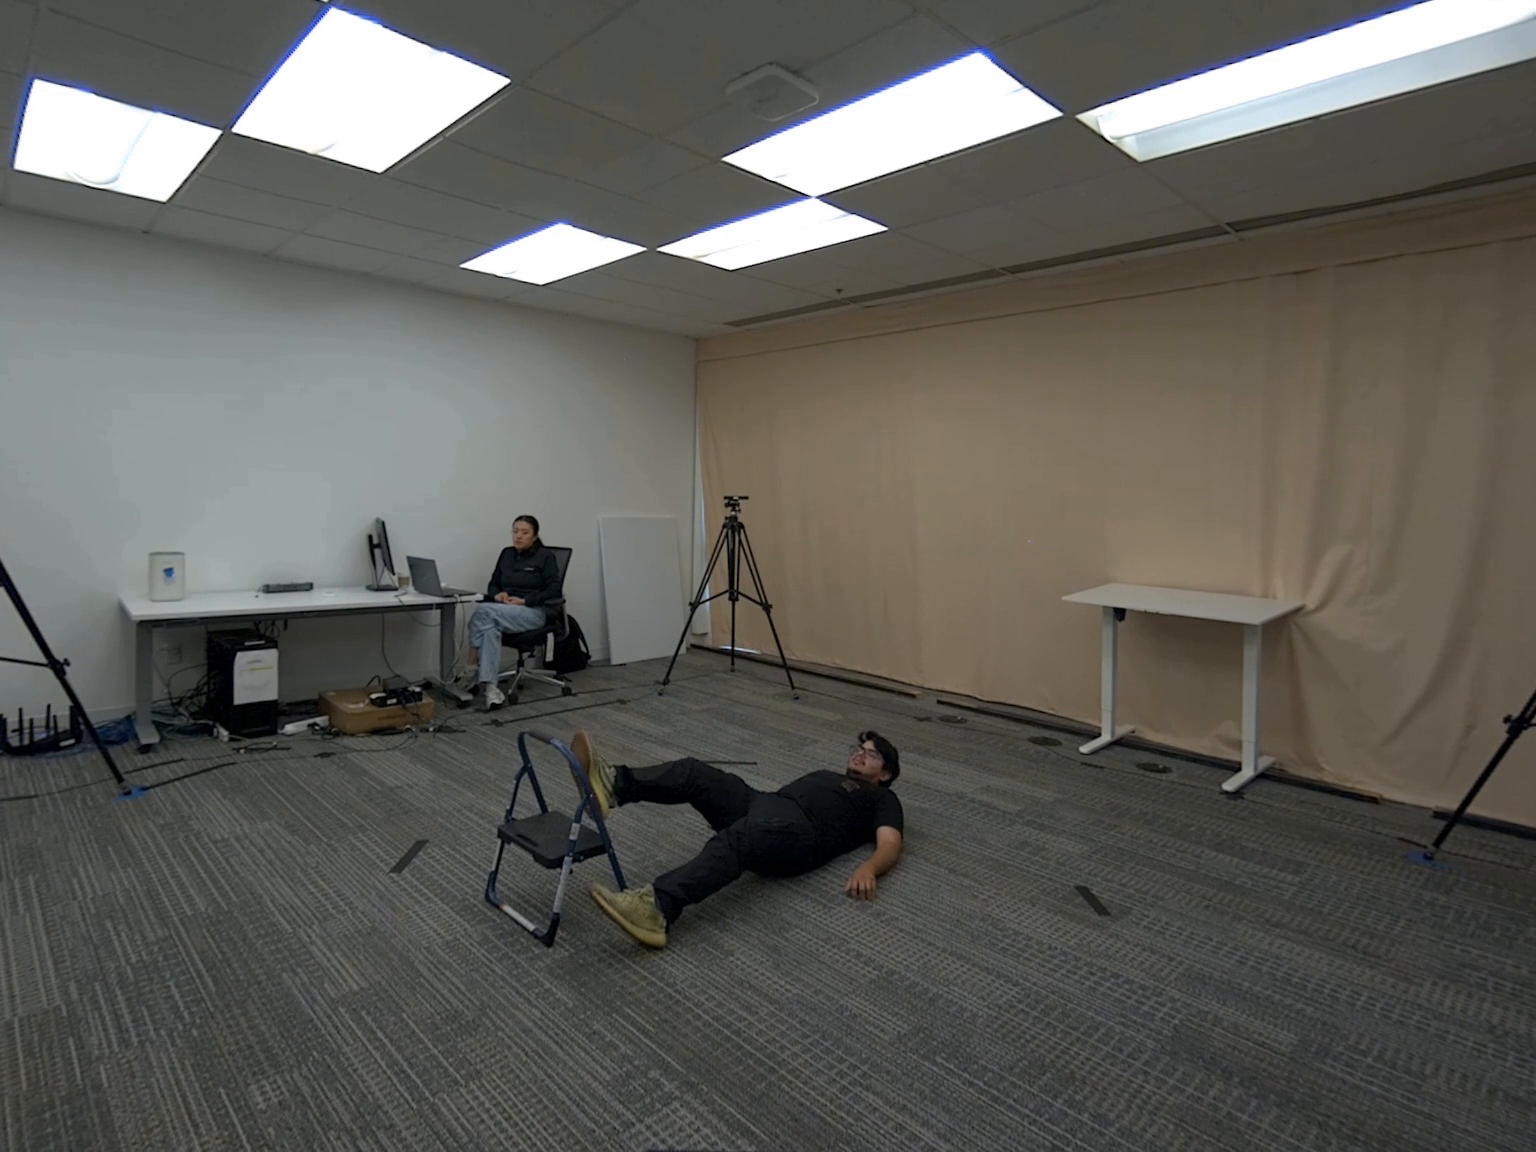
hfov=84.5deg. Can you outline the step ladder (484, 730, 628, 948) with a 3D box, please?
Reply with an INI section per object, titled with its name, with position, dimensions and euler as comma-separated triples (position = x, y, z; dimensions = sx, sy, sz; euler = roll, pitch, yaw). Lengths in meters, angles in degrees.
[step ladder]
position = -0.702, 0.816, 2.825
dimensions = 0.441, 0.604, 0.341
euler = 4, 5, 45
